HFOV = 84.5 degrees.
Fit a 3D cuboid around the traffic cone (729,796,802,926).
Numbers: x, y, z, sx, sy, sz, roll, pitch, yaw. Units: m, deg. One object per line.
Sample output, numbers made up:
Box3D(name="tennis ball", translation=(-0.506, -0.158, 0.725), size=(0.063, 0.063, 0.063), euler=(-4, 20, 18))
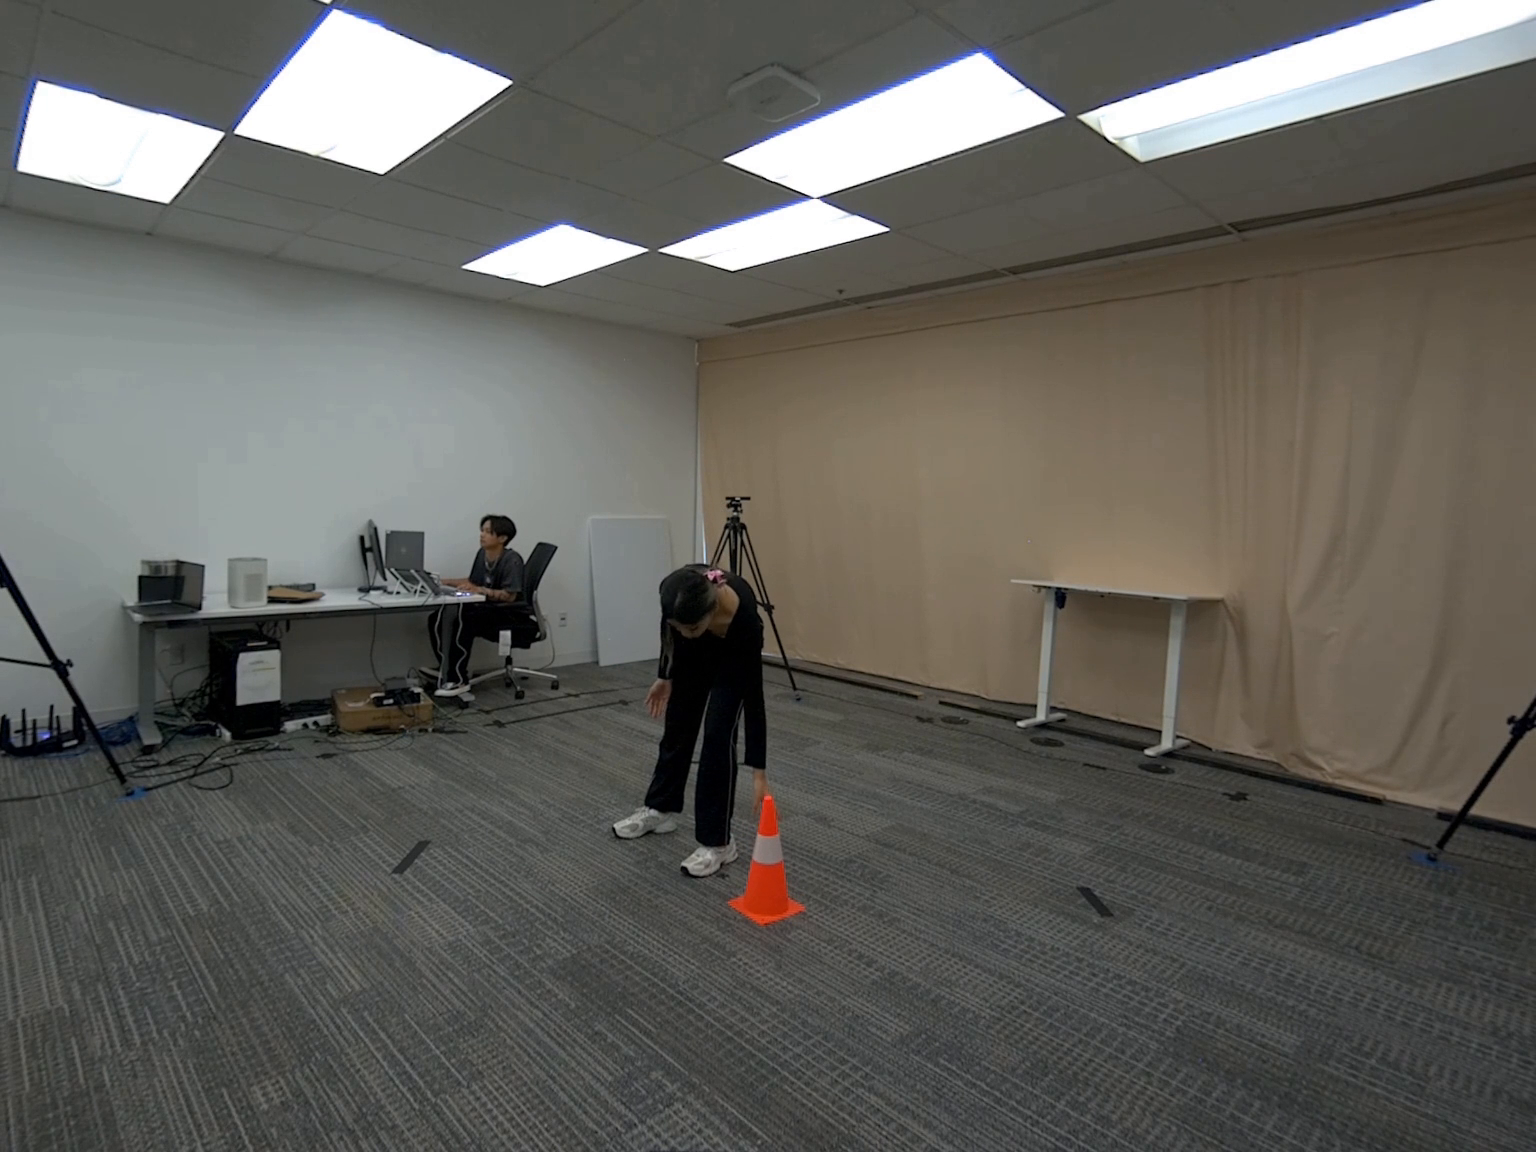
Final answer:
Box3D(name="traffic cone", translation=(-0.011, 0.947, 2.867), size=(0.200, 0.383, 0.208), euler=(-1, 3, -35))
